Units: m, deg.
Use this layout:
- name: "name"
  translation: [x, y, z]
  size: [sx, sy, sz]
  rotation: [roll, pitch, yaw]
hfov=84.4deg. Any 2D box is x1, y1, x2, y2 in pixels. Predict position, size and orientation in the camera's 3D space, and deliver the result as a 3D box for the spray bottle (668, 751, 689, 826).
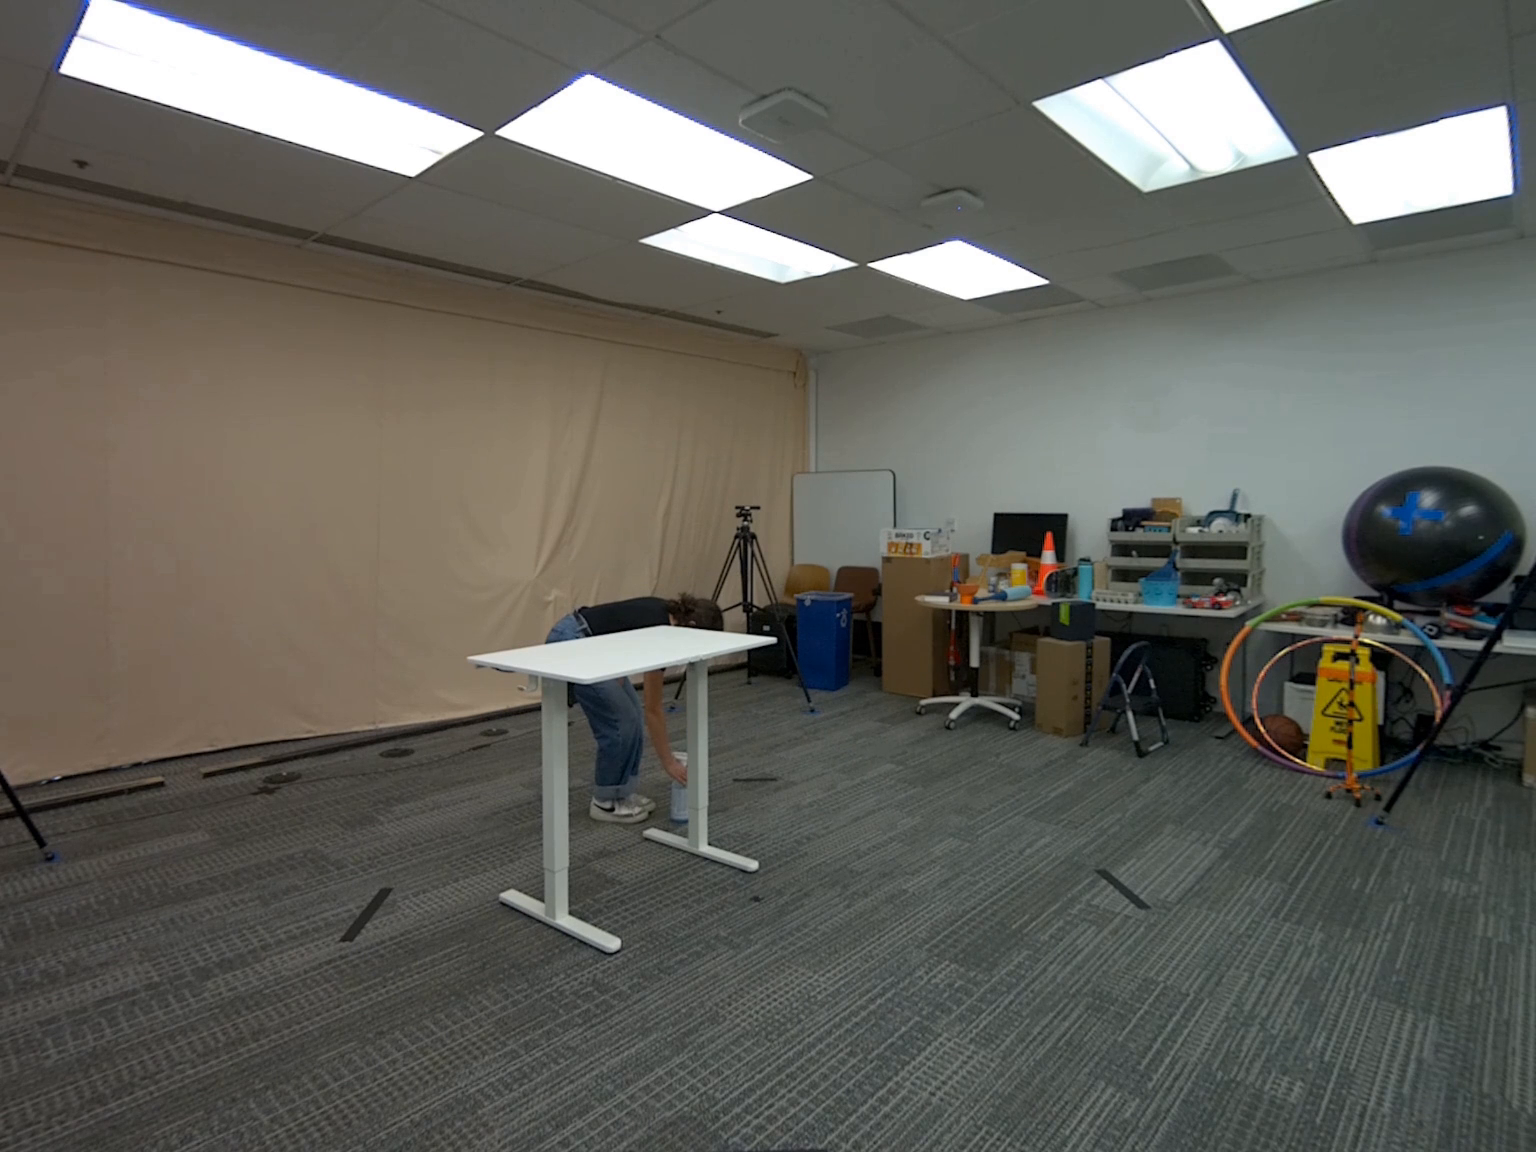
- name: "spray bottle"
  translation: [-0.390, 0.938, 3.749]
  size: [0.092, 0.298, 0.085]
  rotation: [-2, -3, 22]
